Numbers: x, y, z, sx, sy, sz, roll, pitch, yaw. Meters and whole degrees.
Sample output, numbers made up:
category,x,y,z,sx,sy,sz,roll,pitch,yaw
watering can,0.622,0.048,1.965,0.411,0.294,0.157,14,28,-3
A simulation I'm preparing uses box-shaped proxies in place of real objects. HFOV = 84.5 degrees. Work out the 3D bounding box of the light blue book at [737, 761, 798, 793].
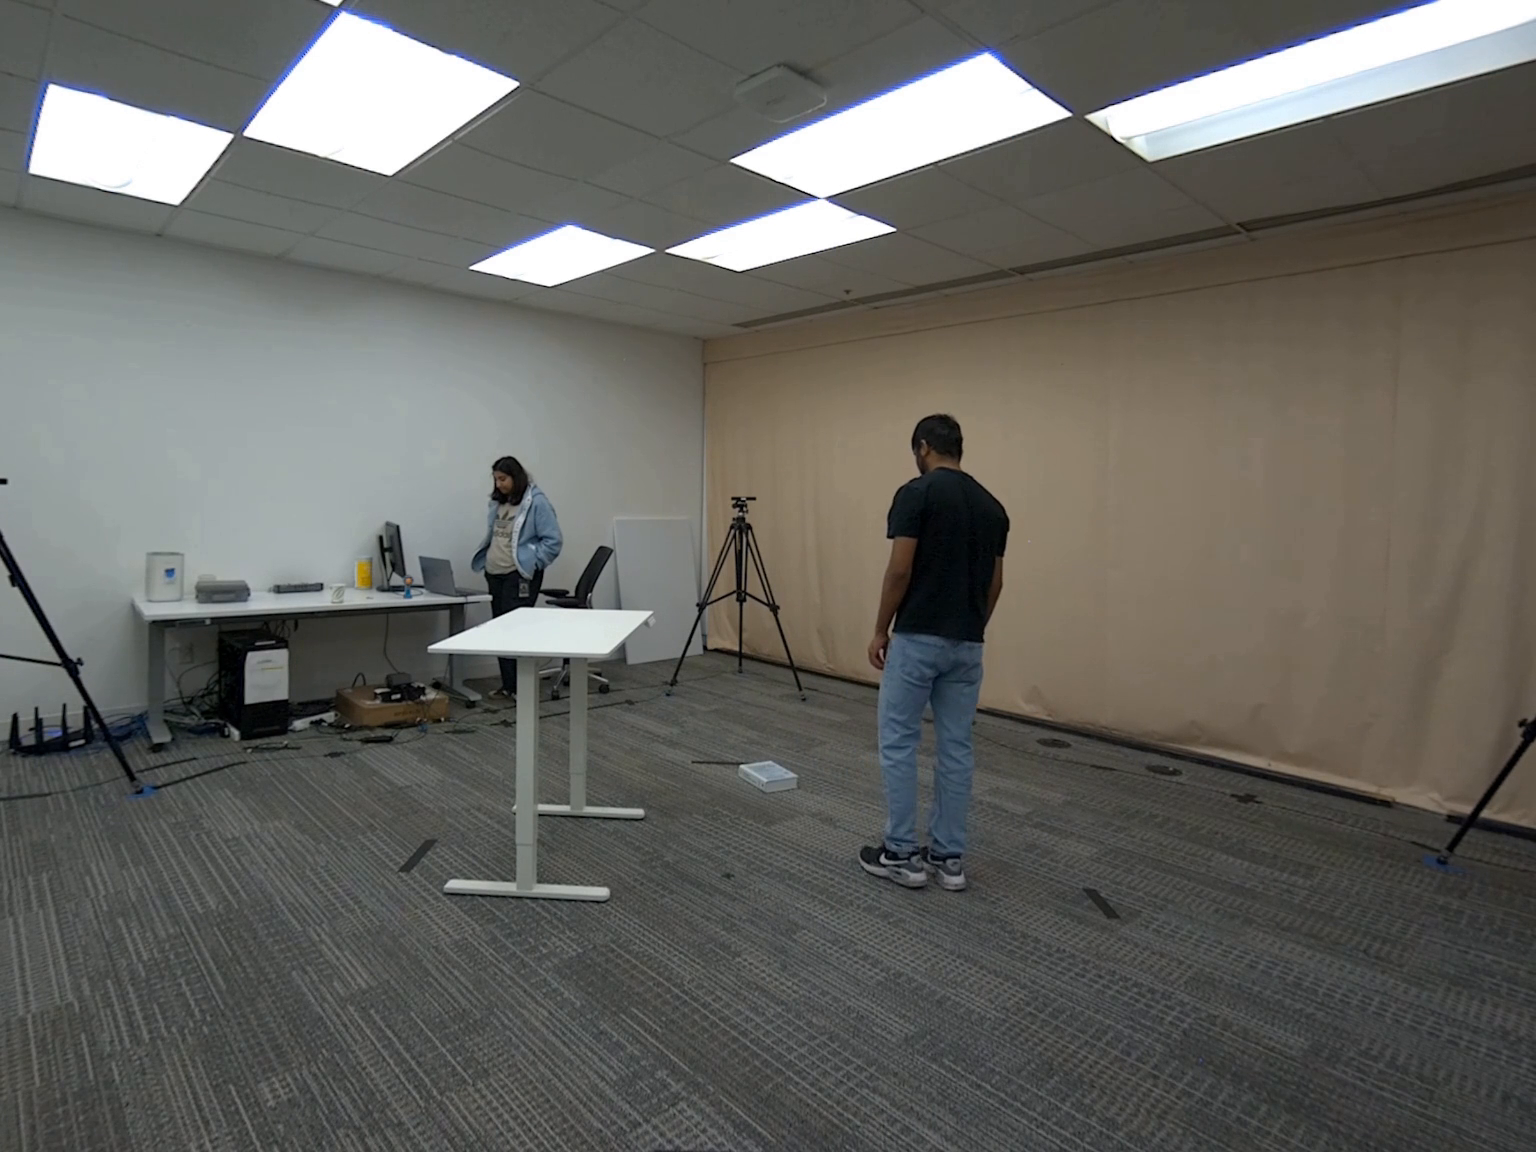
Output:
category,x,y,z,sx,sy,sz,roll,pitch,yaw
light blue book,-0.012,0.988,4.166,0.187,0.059,0.267,0,6,-30
